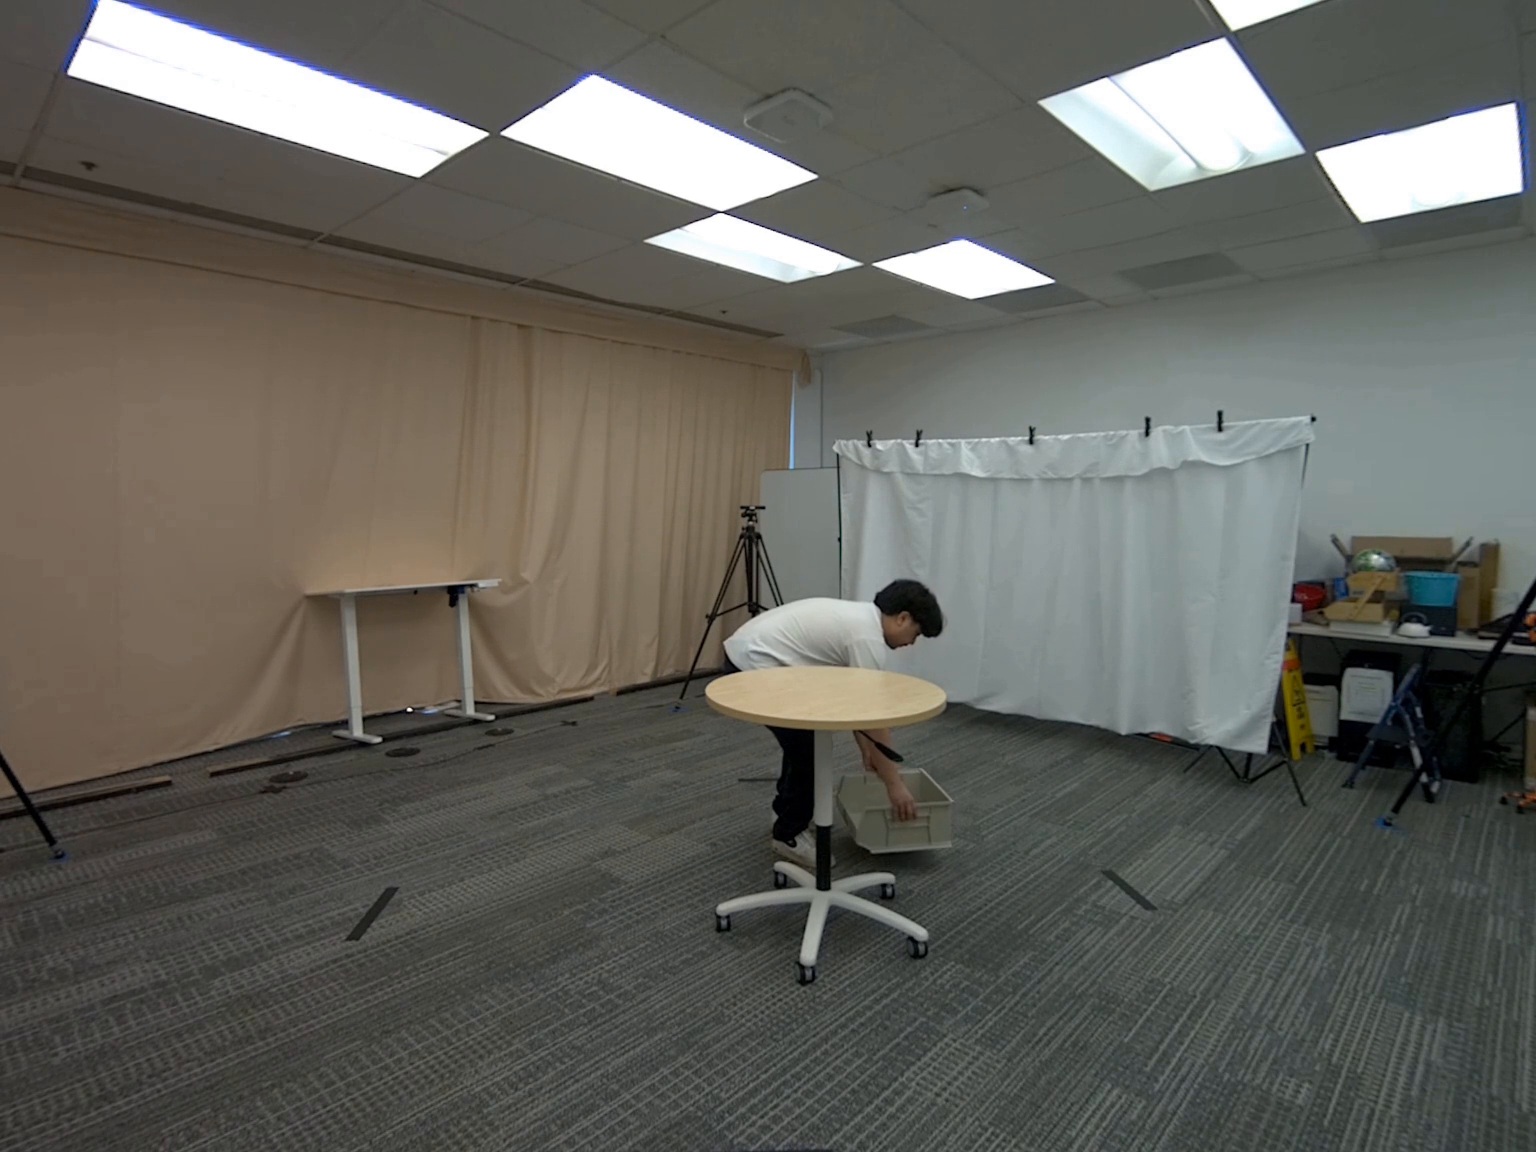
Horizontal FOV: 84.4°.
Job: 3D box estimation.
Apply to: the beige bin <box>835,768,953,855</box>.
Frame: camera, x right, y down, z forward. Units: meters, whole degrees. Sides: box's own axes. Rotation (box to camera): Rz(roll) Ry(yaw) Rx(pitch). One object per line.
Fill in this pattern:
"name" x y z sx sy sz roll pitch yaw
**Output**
"beige bin" 0.504 0.935 3.391 0.376 0.188 0.425 -2 4 -5
